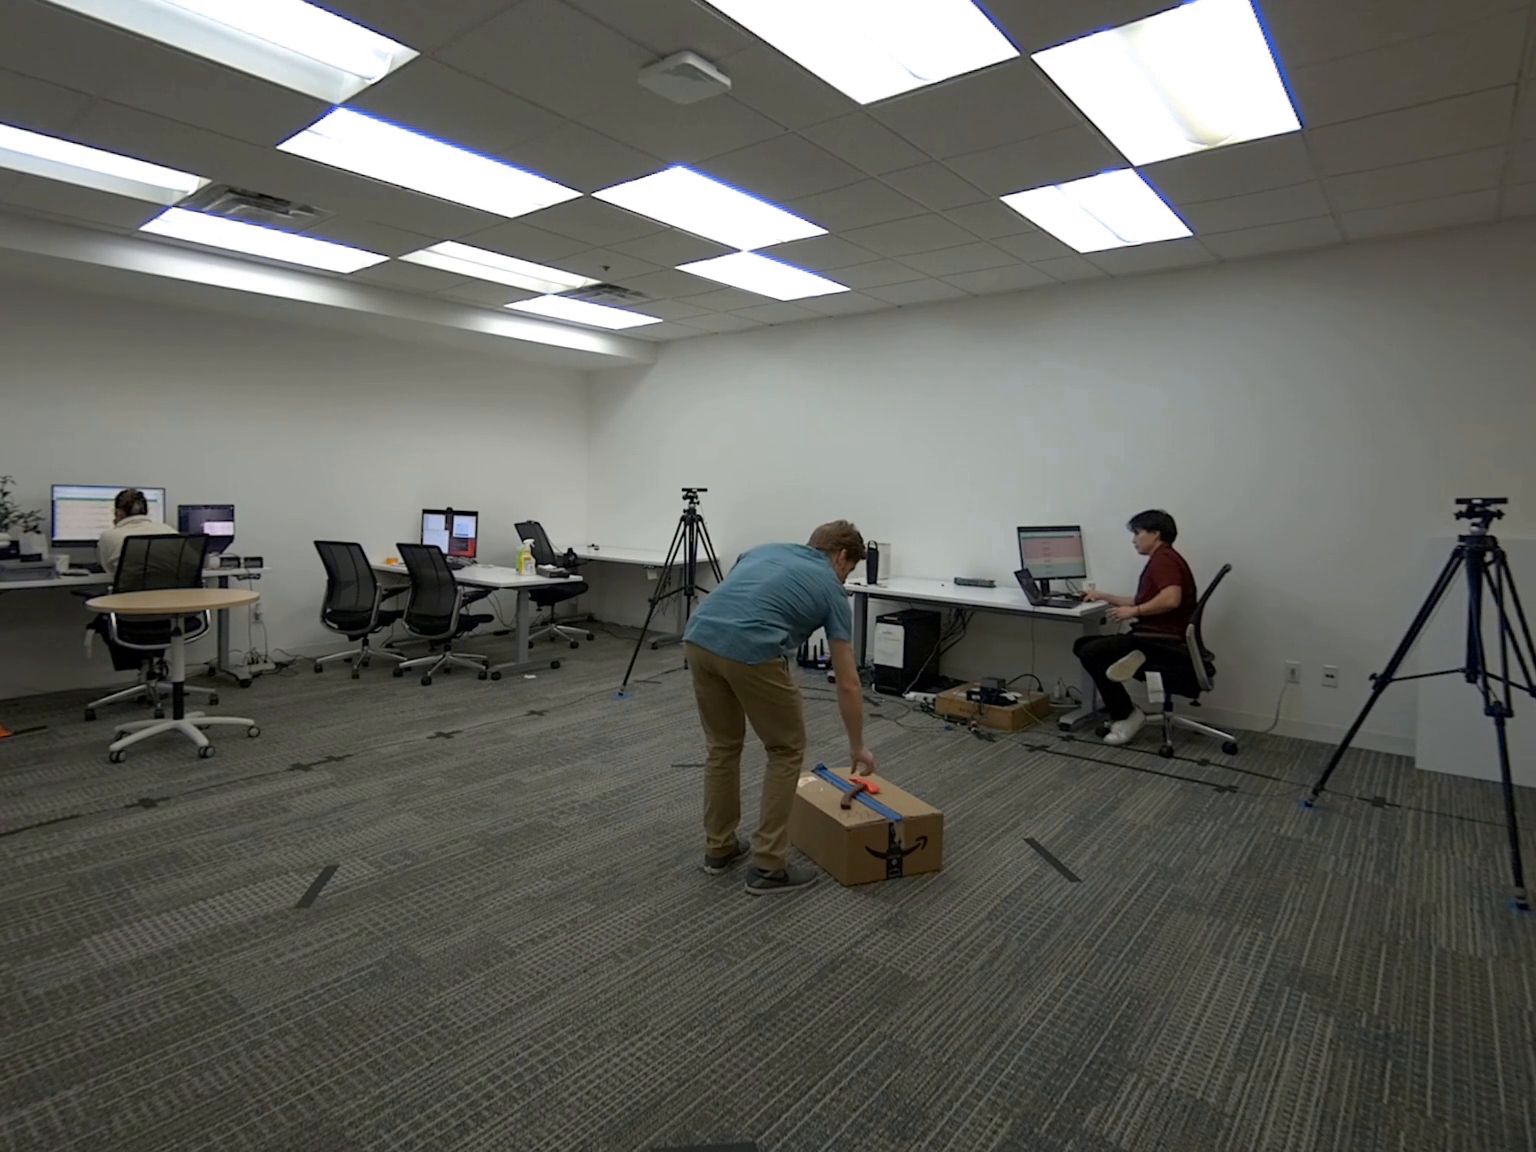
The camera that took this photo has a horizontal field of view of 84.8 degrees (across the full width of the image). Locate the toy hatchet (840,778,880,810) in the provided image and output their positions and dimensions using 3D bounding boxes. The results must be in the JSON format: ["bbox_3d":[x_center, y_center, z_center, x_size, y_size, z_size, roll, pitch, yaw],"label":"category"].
[{"bbox_3d":[0.340,0.829,3.259,0.133,0.029,0.267,7,10,14],"label":"toy hatchet"}]
